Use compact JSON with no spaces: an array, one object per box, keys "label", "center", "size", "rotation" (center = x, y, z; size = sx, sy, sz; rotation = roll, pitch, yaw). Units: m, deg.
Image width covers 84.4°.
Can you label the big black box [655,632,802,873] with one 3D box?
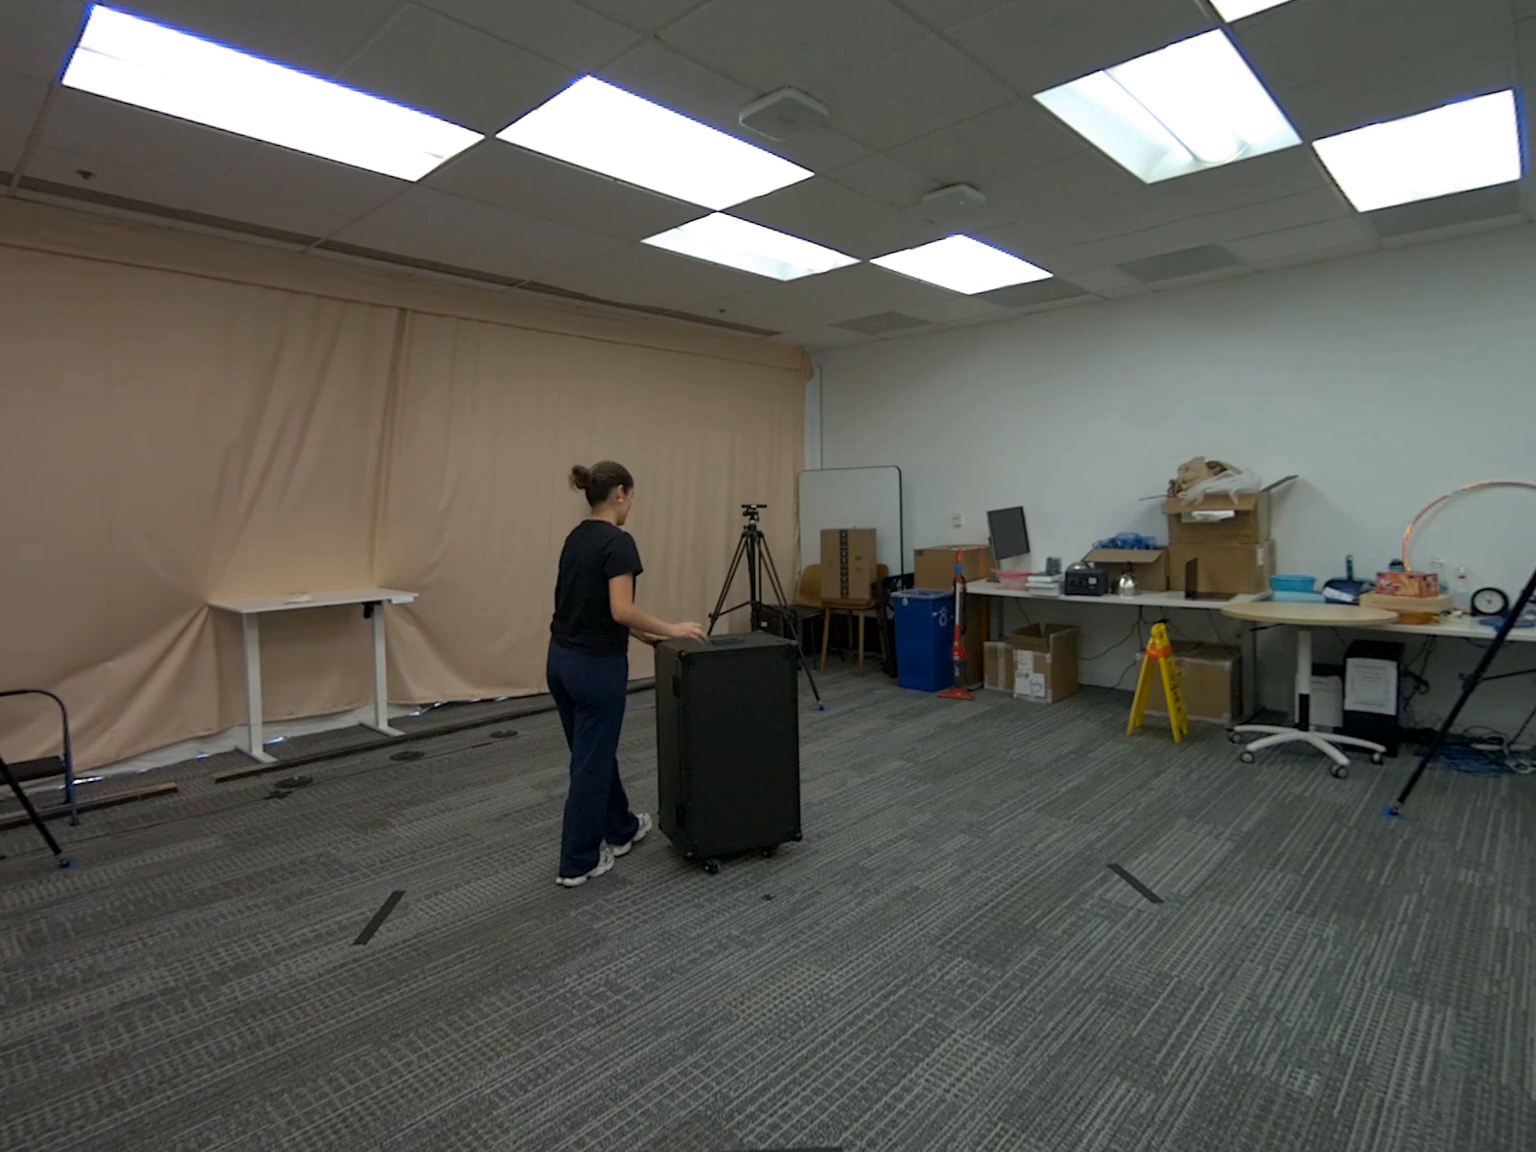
[{"label":"big black box","center":[-0.157,0.695,3.381],"size":[0.510,0.860,0.405],"rotation":[-3,2,-22]}]
